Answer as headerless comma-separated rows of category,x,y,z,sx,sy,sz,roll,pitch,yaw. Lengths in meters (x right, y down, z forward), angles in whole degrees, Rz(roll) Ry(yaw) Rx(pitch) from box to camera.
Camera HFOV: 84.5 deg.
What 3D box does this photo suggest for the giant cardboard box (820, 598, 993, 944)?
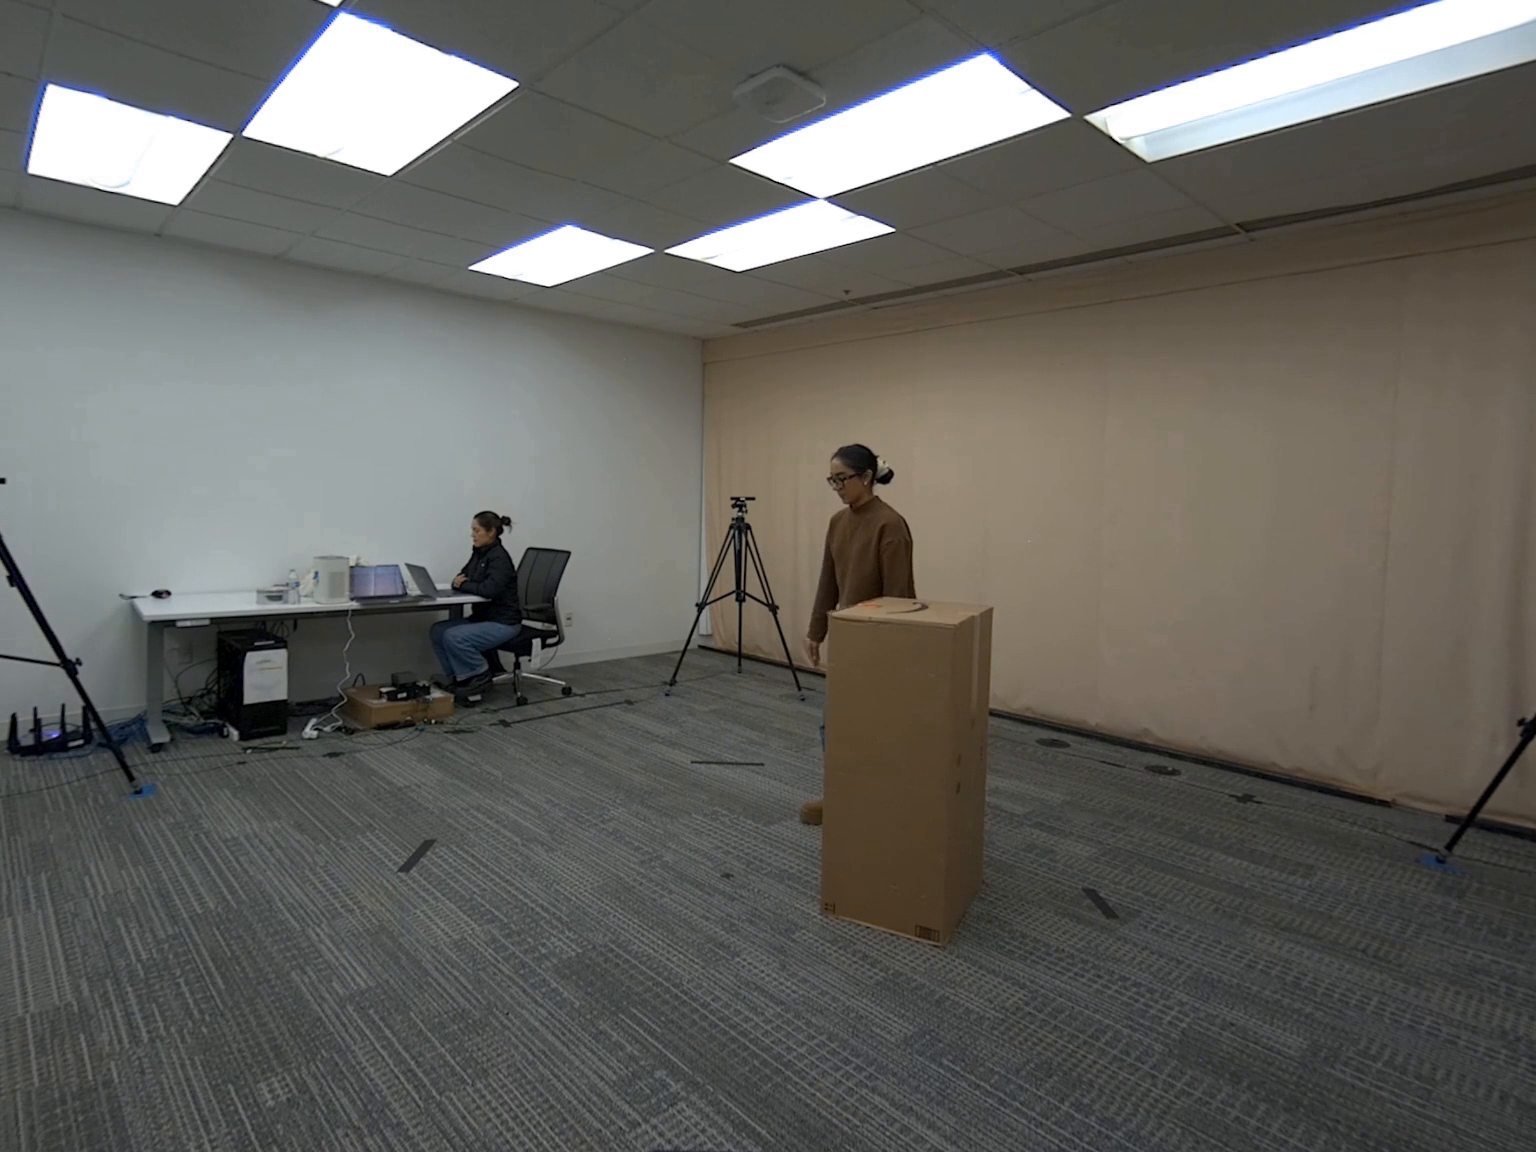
giant cardboard box,0.492,0.627,2.952,0.435,1.023,0.567,3,4,27
